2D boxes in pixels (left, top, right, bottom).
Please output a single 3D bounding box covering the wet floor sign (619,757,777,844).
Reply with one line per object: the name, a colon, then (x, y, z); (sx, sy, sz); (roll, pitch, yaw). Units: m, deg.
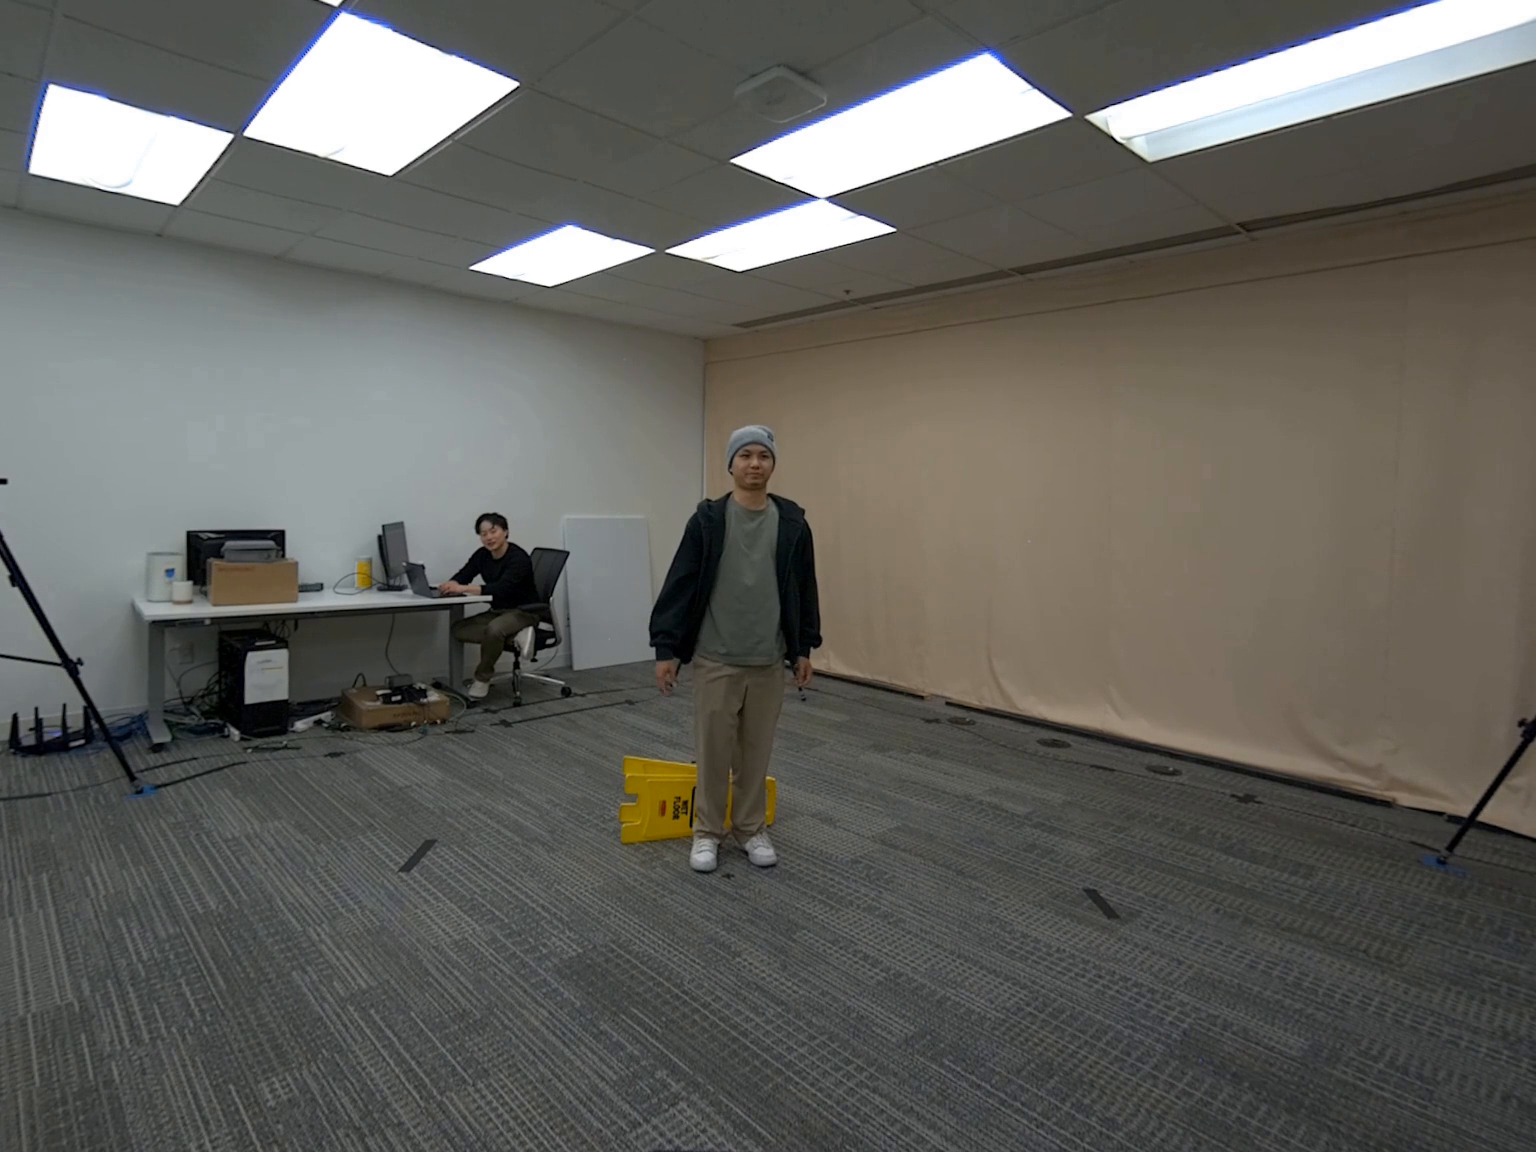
wet floor sign: (-0.296, 0.940, 3.548); (0.640, 0.282, 0.293); (4, 3, -10)
